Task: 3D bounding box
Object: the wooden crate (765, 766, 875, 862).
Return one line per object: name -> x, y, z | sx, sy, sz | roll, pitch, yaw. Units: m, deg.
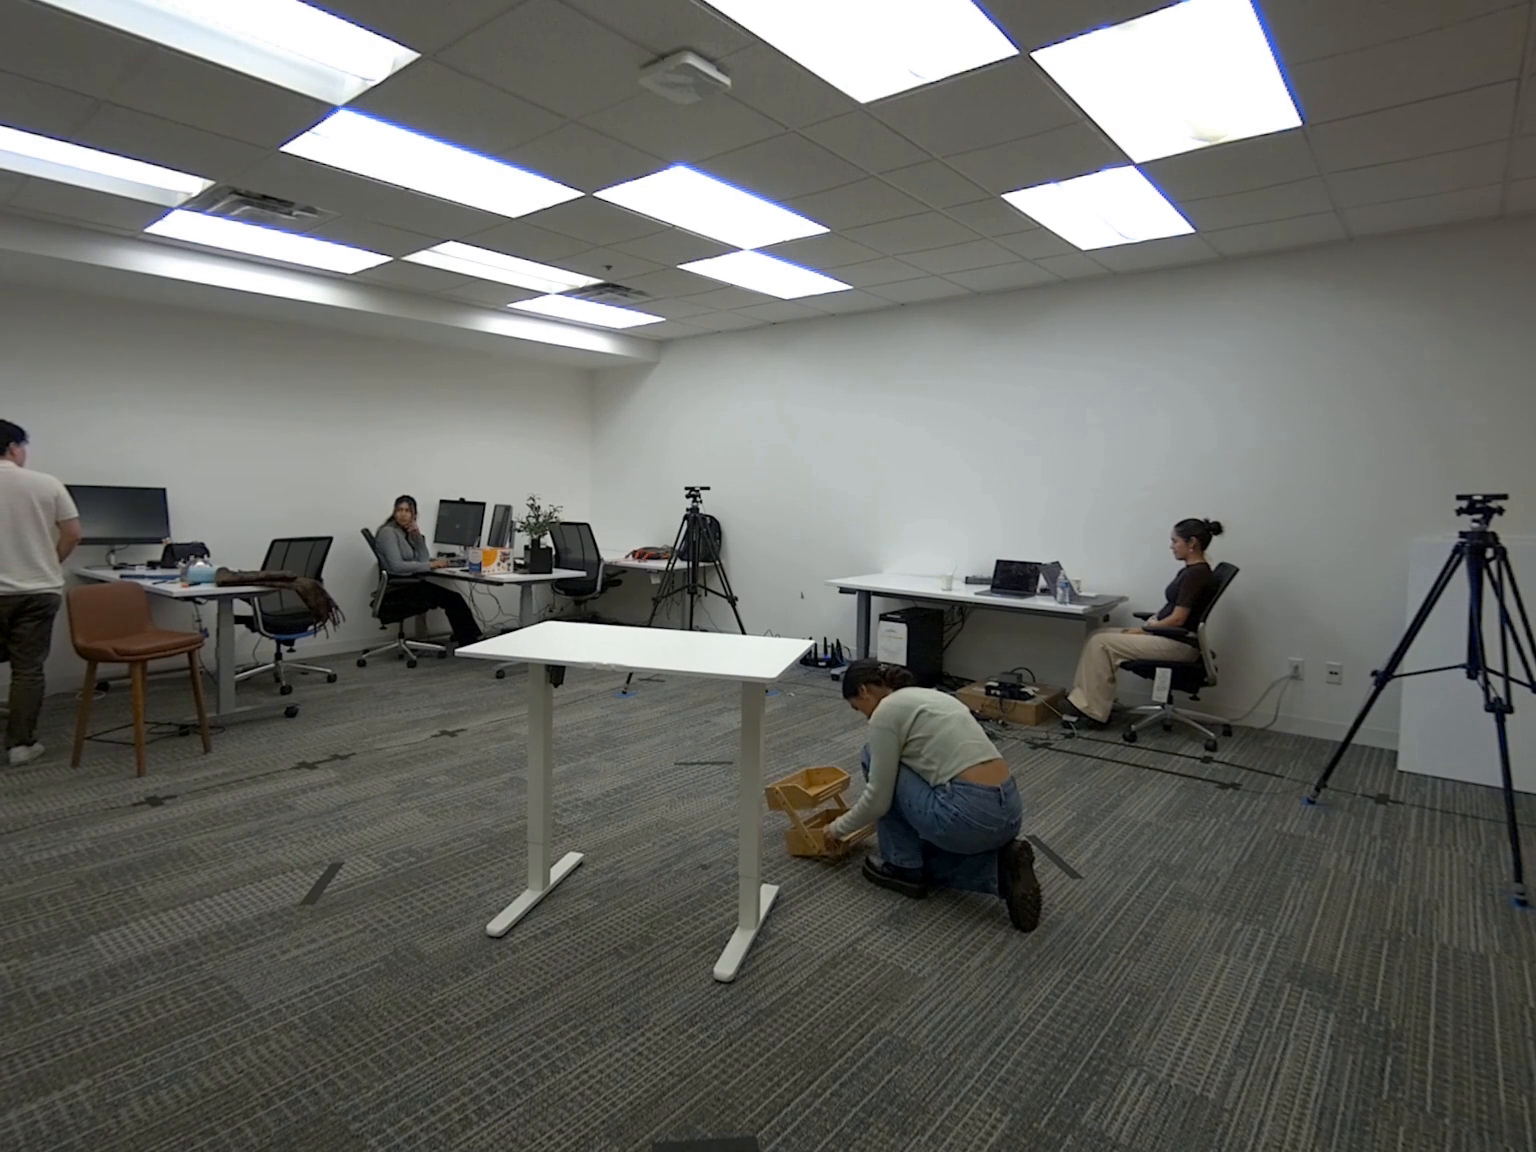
wooden crate -> 0.203, 0.898, 3.311 | 0.308, 0.275, 0.315 | -16, -6, 36
